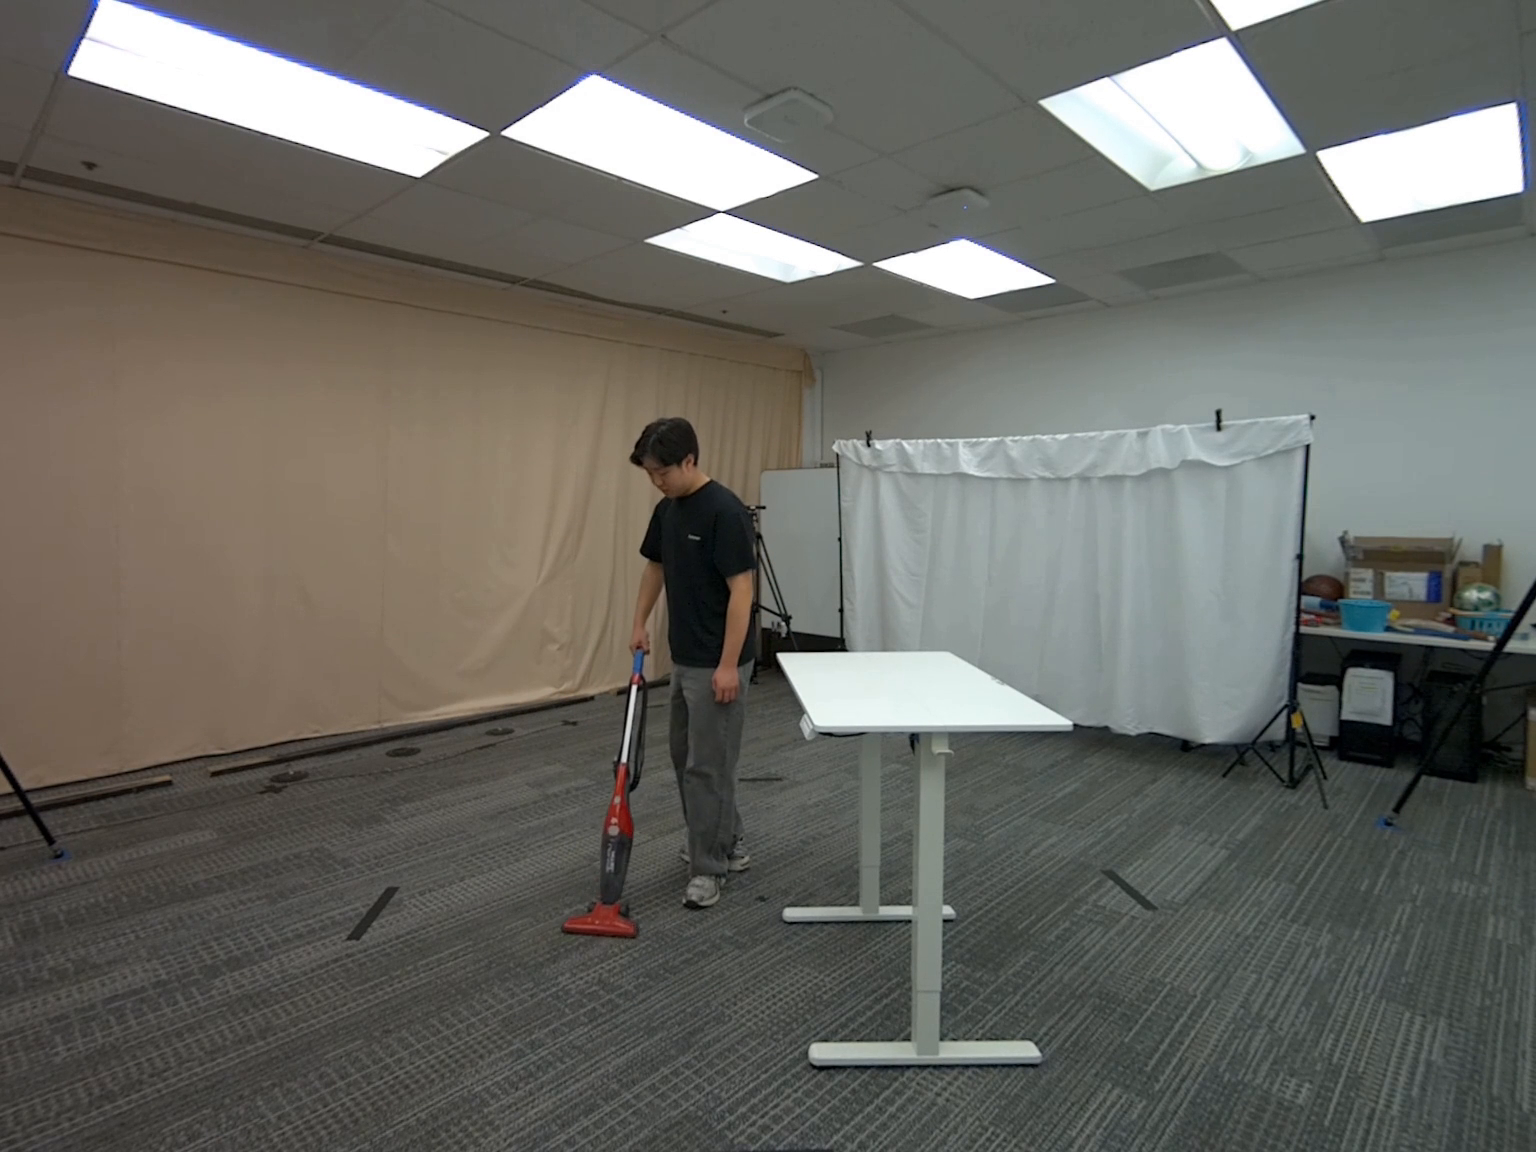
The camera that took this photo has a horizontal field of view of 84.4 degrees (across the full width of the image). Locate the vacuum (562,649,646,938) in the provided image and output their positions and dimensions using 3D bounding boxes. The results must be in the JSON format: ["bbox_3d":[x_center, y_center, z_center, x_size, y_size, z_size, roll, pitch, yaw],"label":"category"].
[{"bbox_3d":[-0.515,0.703,3.051,0.255,1.063,0.141,0,-30,8],"label":"vacuum"}]
